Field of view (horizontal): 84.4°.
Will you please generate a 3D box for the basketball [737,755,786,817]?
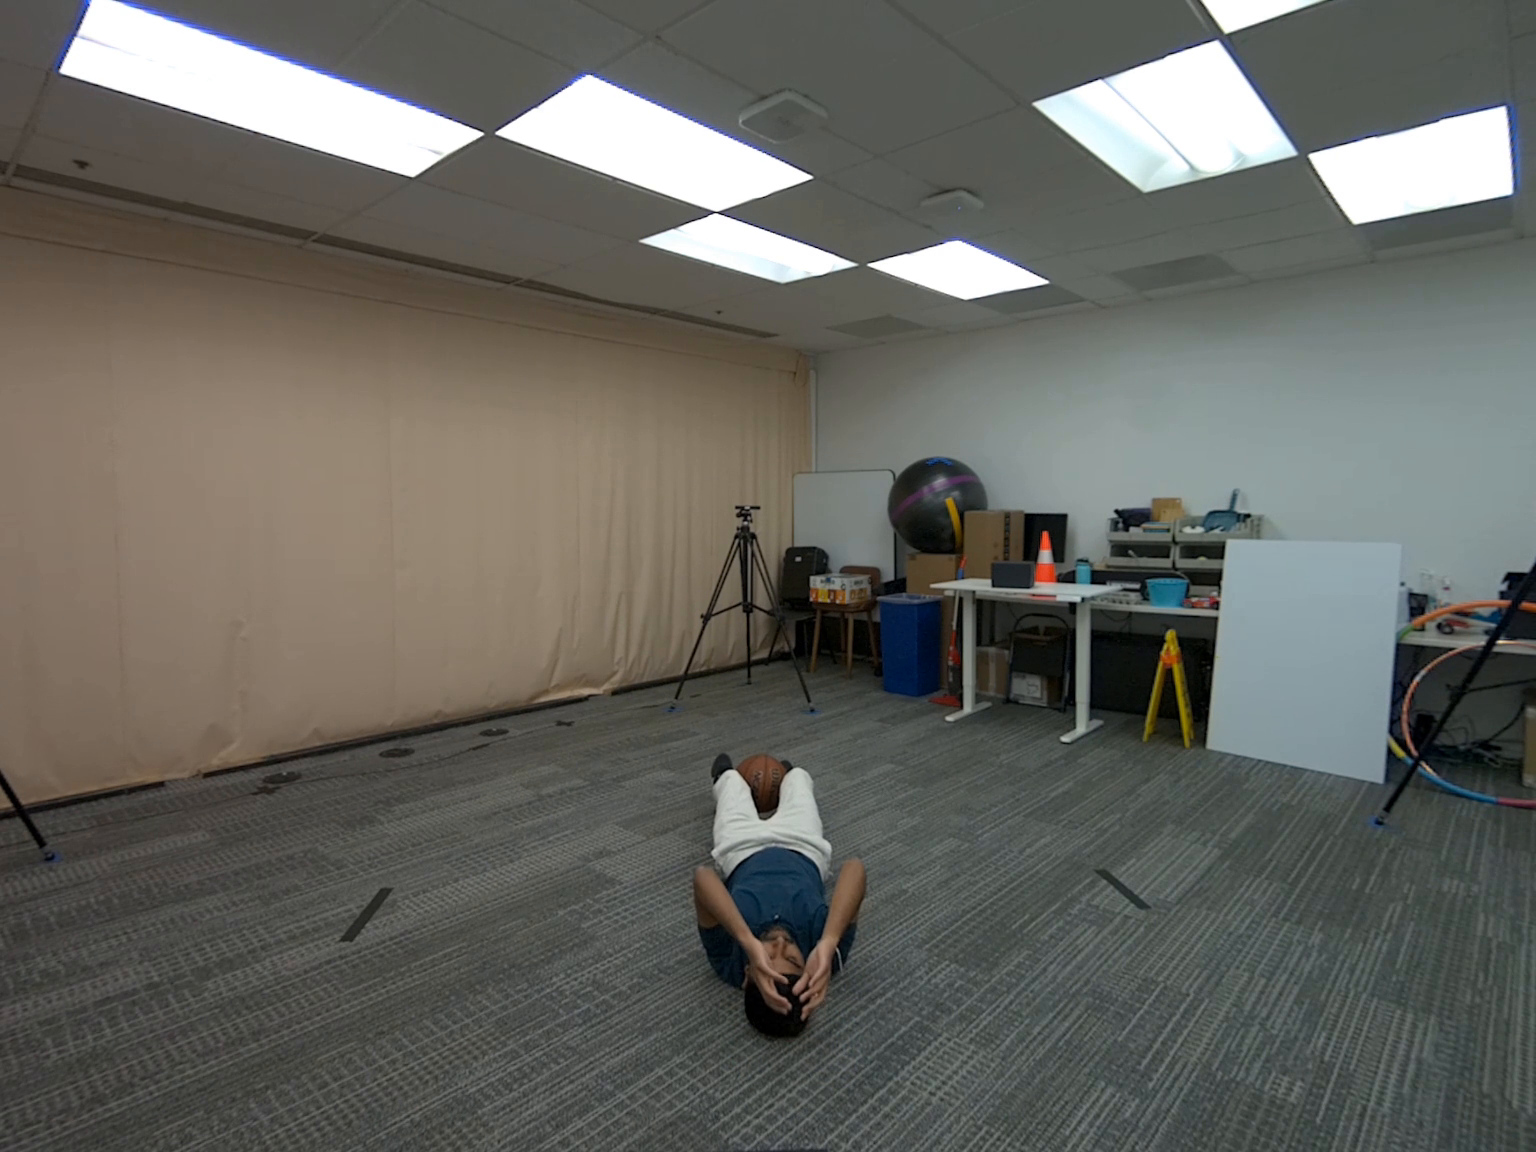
[{"bbox_3d":[-0.035,0.869,3.567,0.236,0.235,0.237,0,4,-2],"label":"basketball"}]
